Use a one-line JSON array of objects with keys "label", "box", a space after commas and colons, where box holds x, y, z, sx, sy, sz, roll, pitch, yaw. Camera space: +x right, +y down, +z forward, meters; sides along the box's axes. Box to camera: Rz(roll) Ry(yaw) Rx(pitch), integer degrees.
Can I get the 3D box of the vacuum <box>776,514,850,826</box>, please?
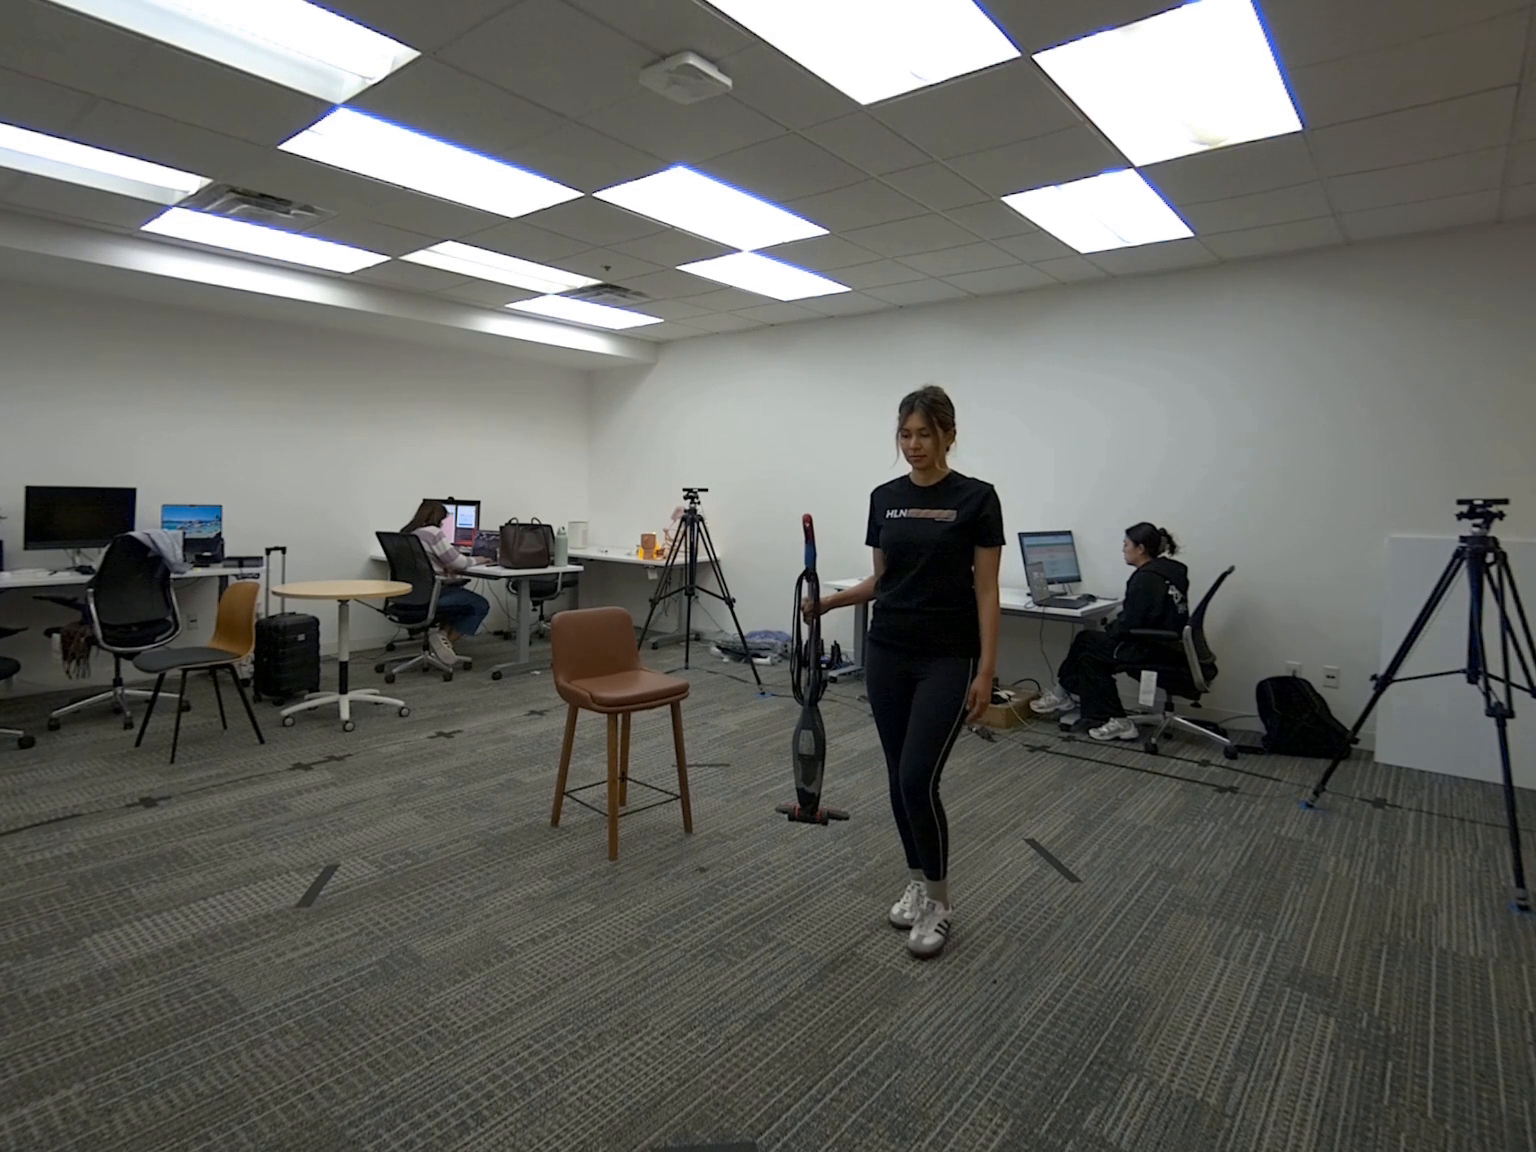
[{"label": "vacuum", "box": [0.124, 0.326, 2.746, 0.257, 1.034, 0.144, 2, 15, 15]}]
